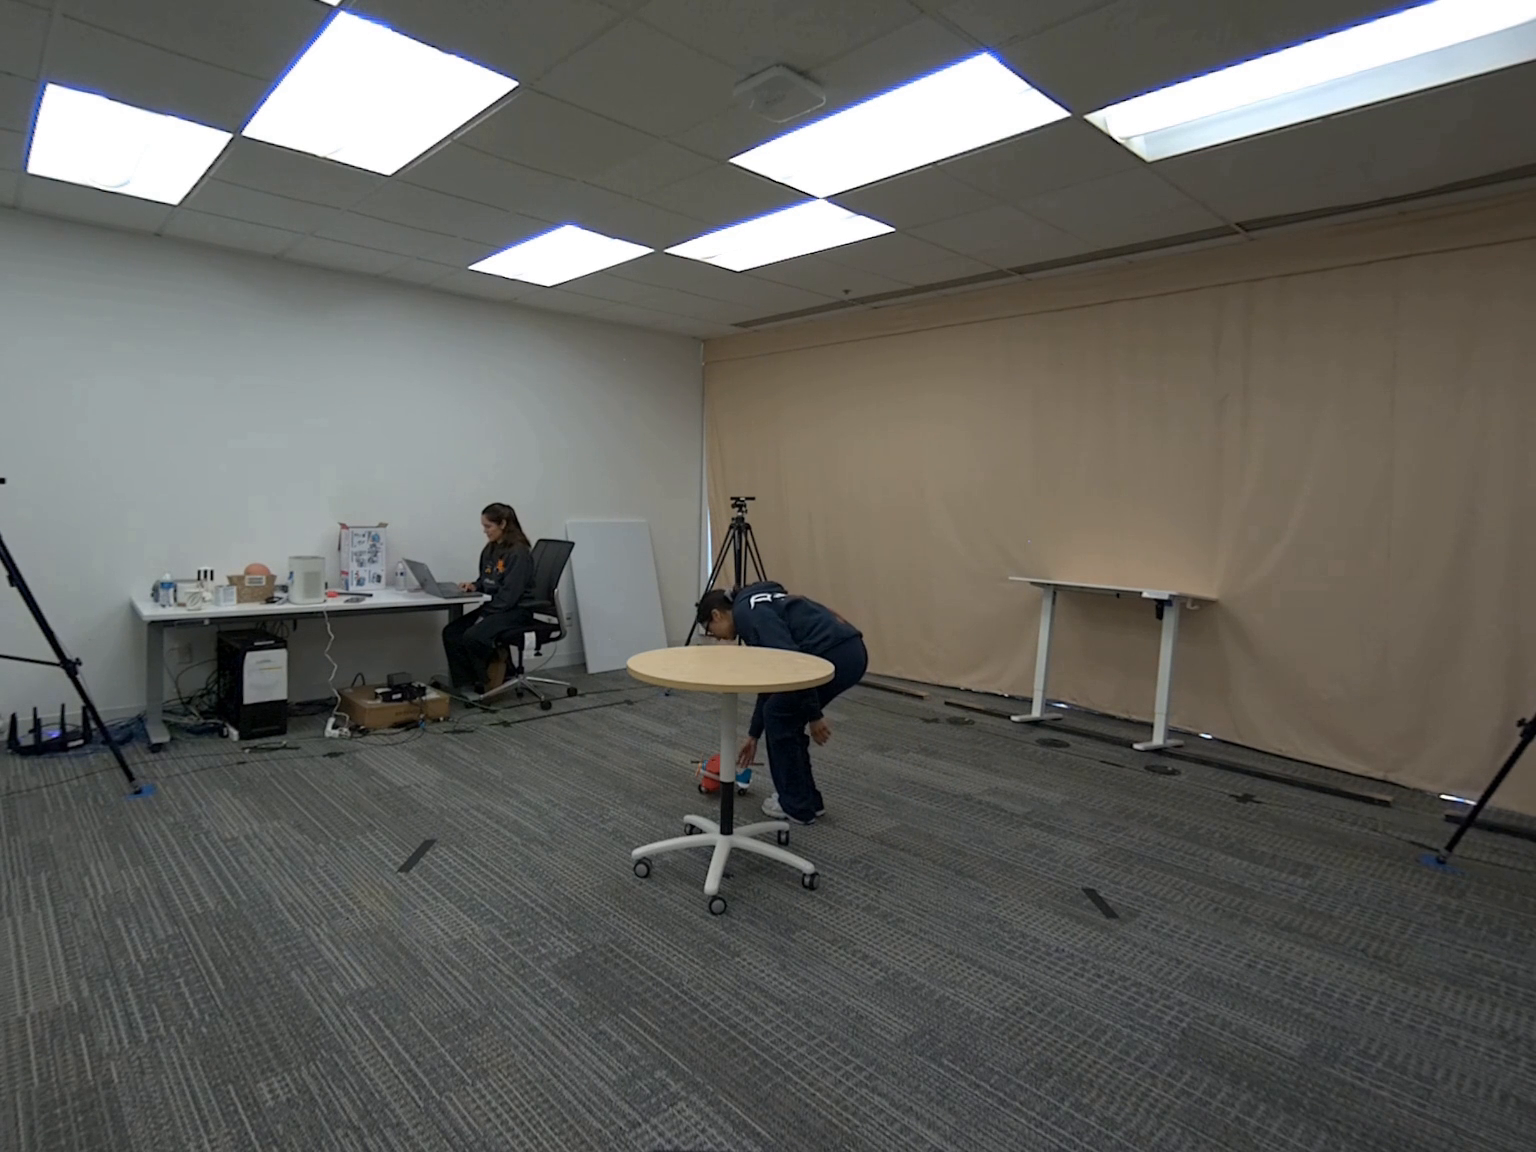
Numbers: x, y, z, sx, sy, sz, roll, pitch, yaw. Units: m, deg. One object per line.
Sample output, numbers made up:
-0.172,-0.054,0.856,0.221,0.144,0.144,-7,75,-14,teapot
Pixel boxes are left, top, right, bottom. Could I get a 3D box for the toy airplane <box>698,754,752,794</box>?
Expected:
-0.223,0.952,4.022,0.256,0.156,0.255,0,5,-17,toy airplane
